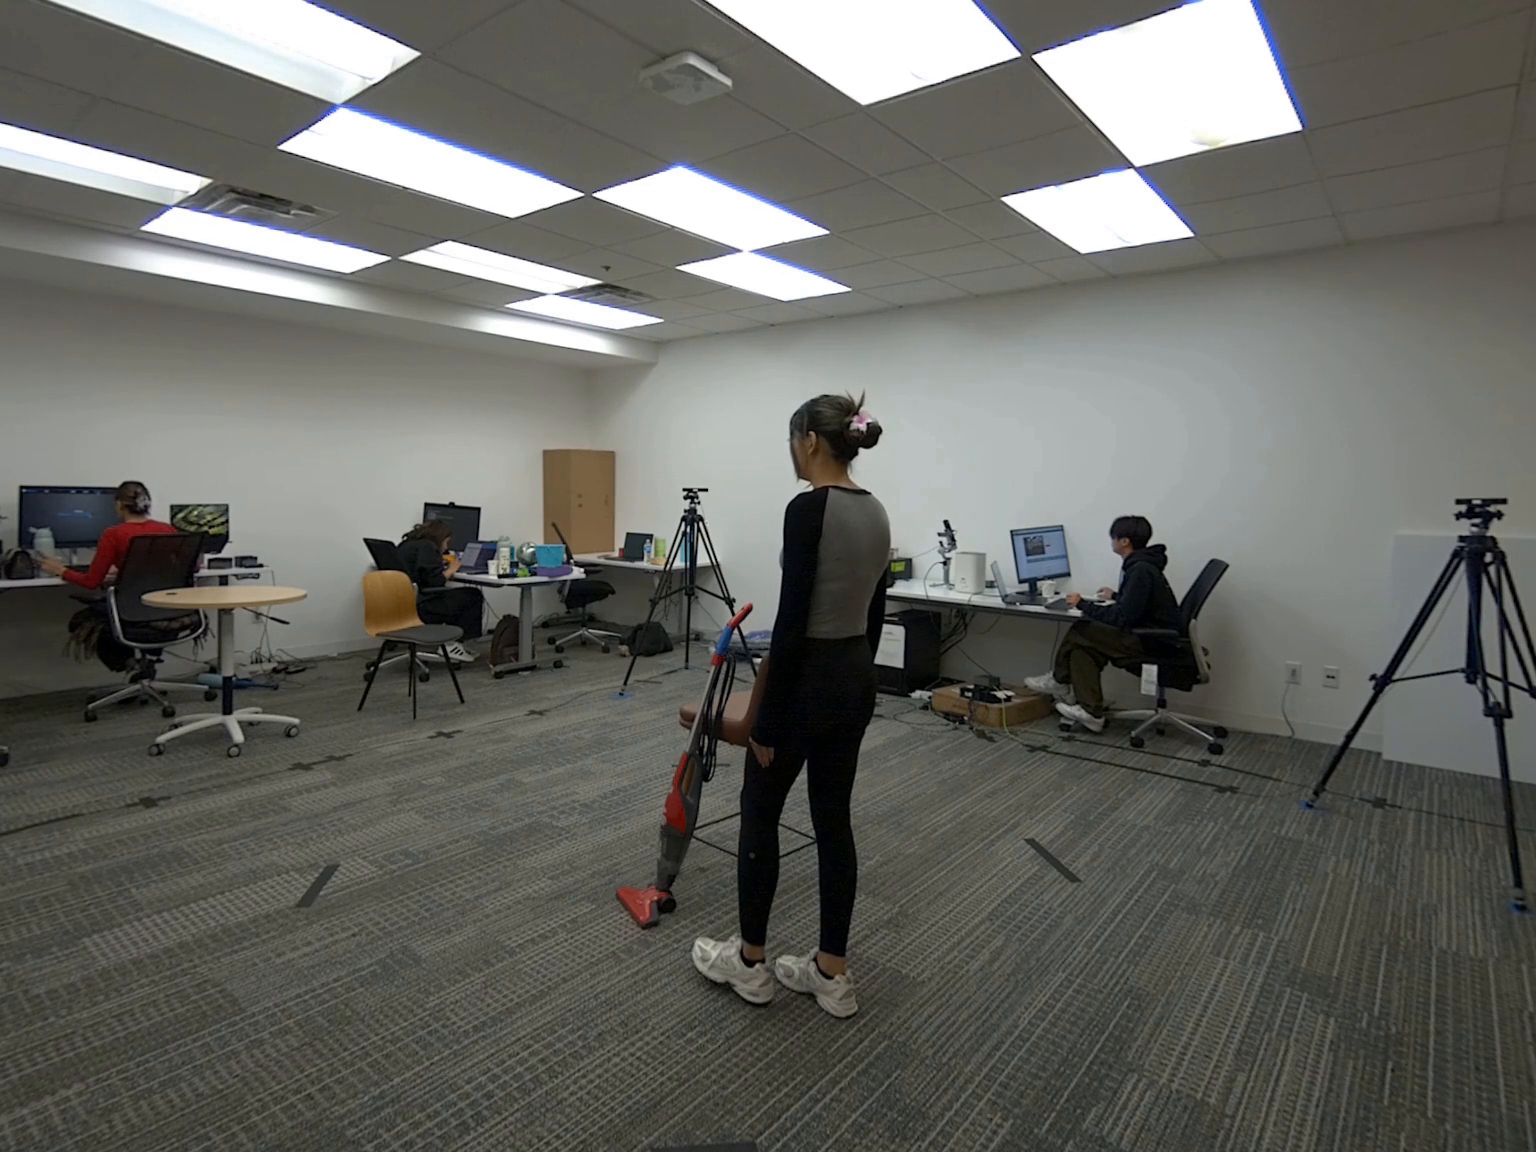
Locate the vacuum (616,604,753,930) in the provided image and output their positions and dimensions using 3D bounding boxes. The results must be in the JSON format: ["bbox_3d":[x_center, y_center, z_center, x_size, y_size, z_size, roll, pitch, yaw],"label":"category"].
[{"bbox_3d":[-0.243,0.592,2.865,0.139,1.053,0.261,22,-7,-32],"label":"vacuum"}]
